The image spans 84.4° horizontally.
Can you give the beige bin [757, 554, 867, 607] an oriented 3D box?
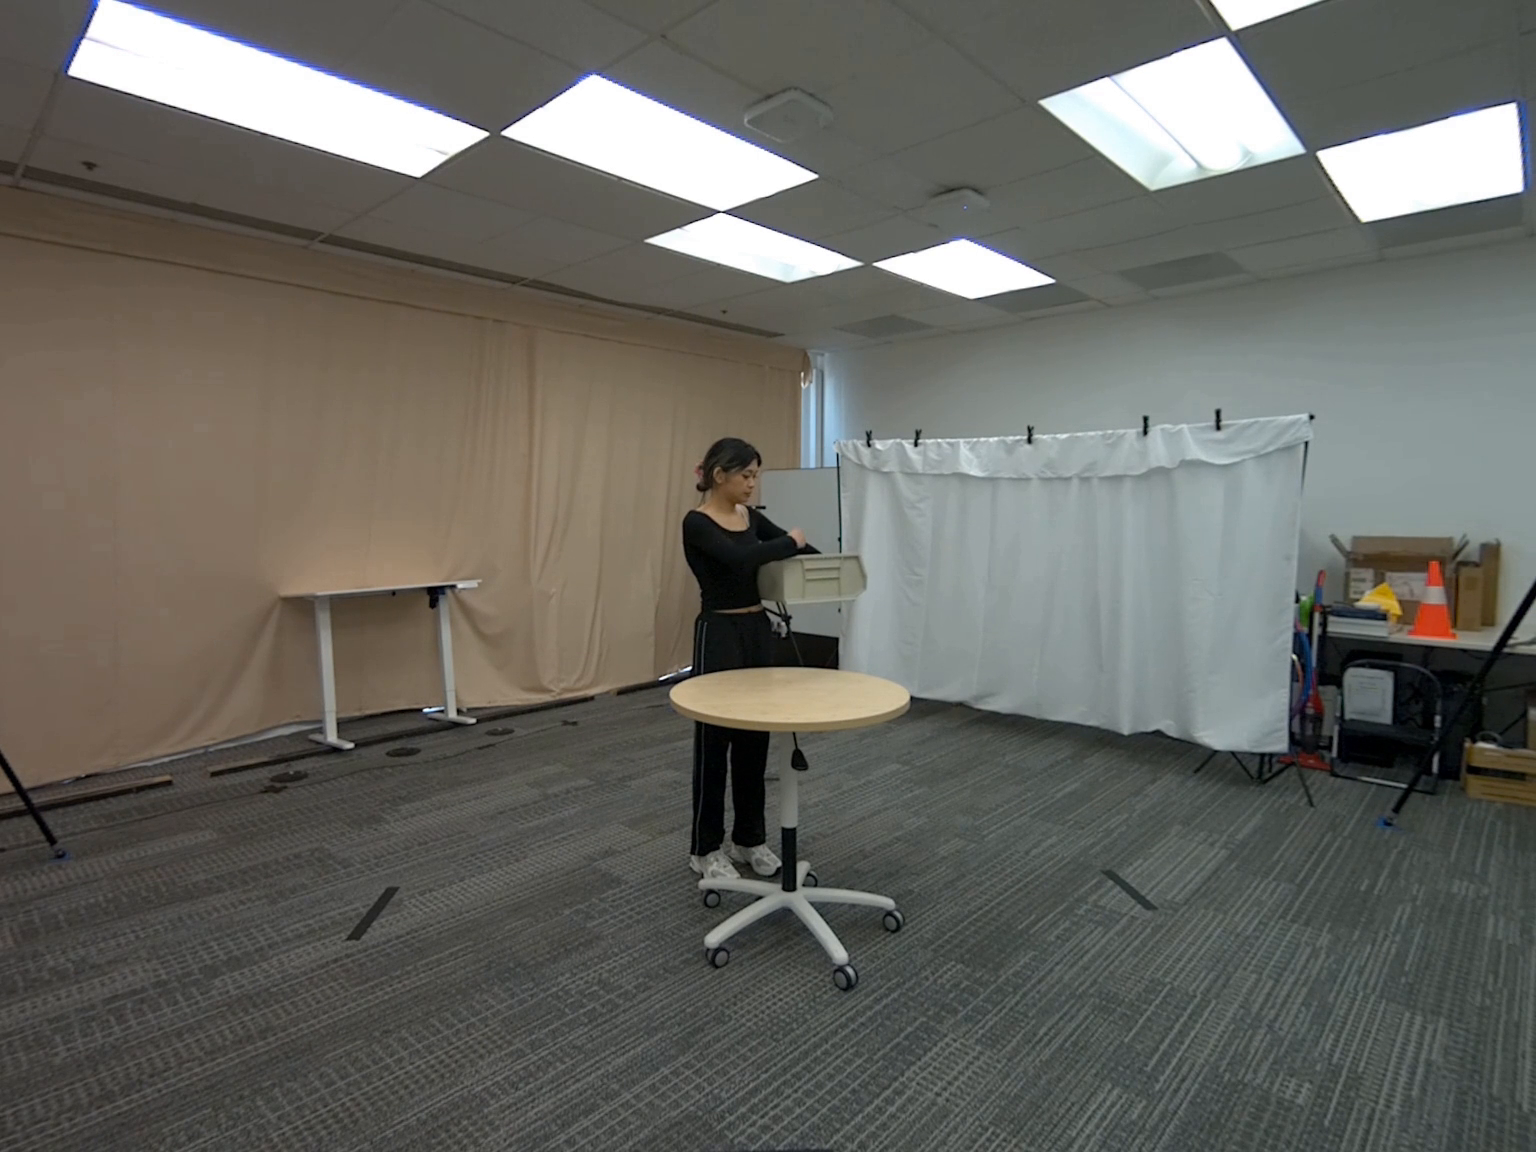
[{"bbox_3d":[0.119,0.003,3.317,0.368,0.189,0.434,-3,4,-29],"label":"beige bin"}]
